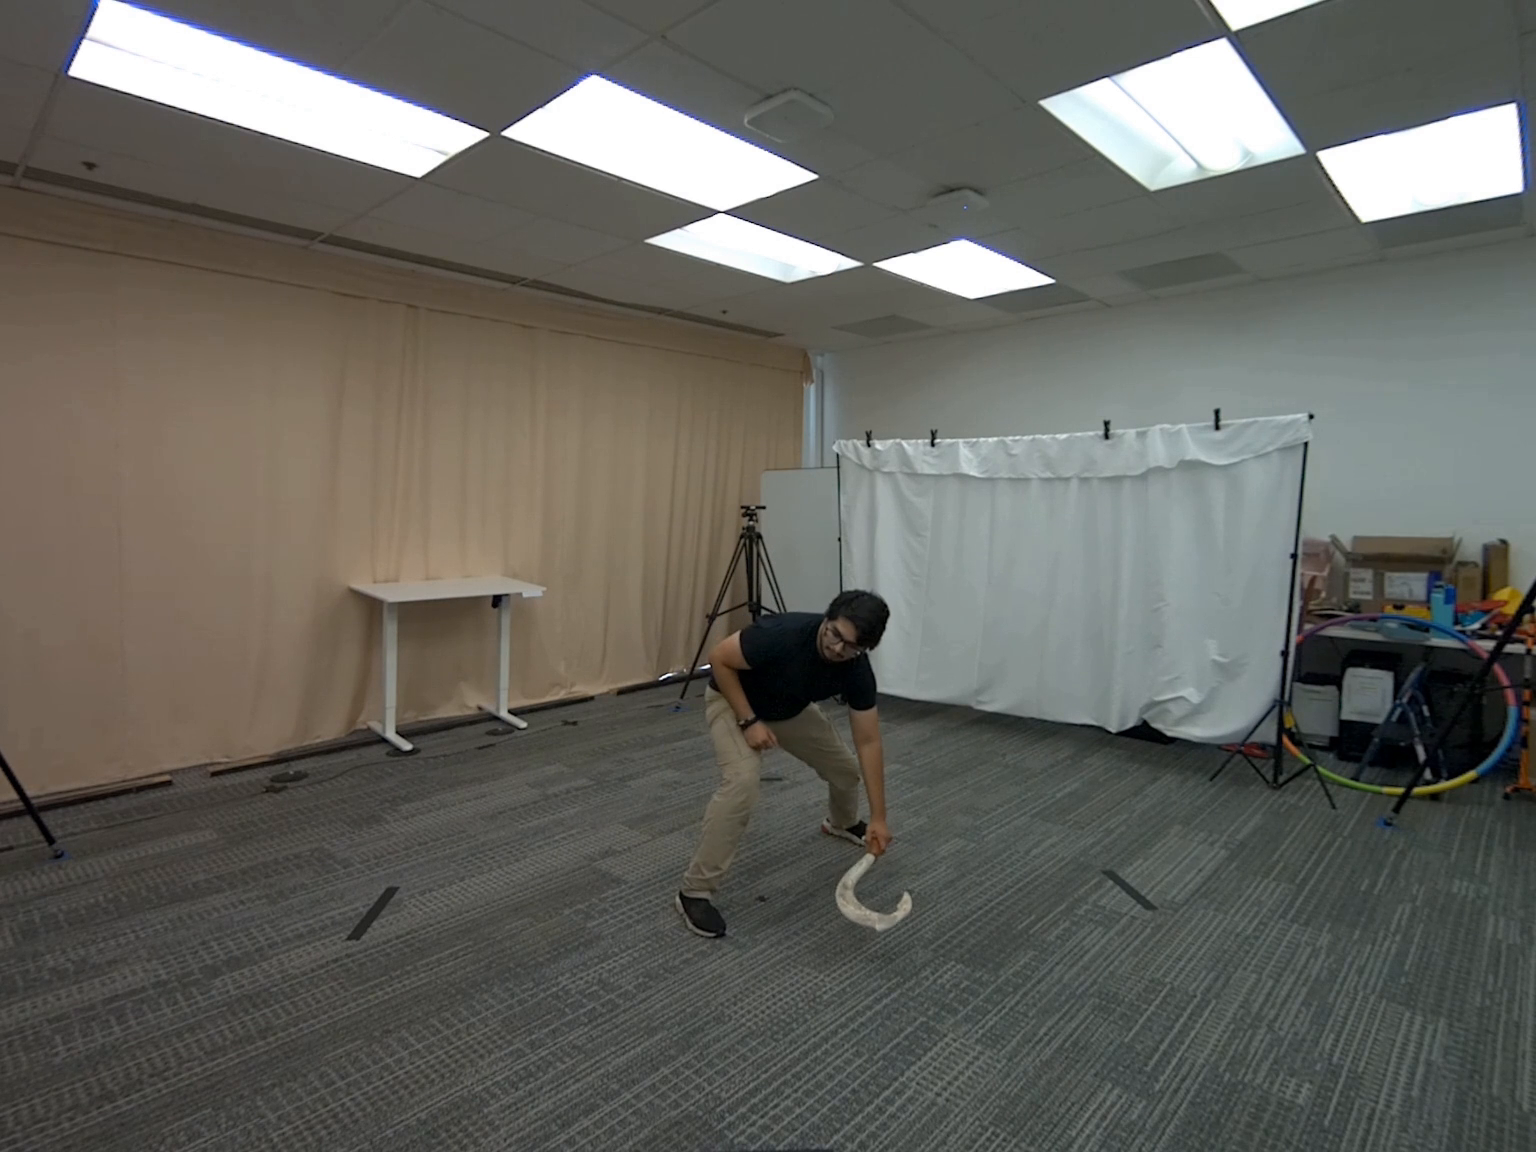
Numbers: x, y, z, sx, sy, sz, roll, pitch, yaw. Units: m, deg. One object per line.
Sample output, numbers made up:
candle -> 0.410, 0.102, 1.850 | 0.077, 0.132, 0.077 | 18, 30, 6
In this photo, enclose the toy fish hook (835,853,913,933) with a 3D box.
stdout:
toy fish hook -> 0.387, 0.970, 2.736 | 0.228, 0.048, 0.503 | 17, 23, 11
